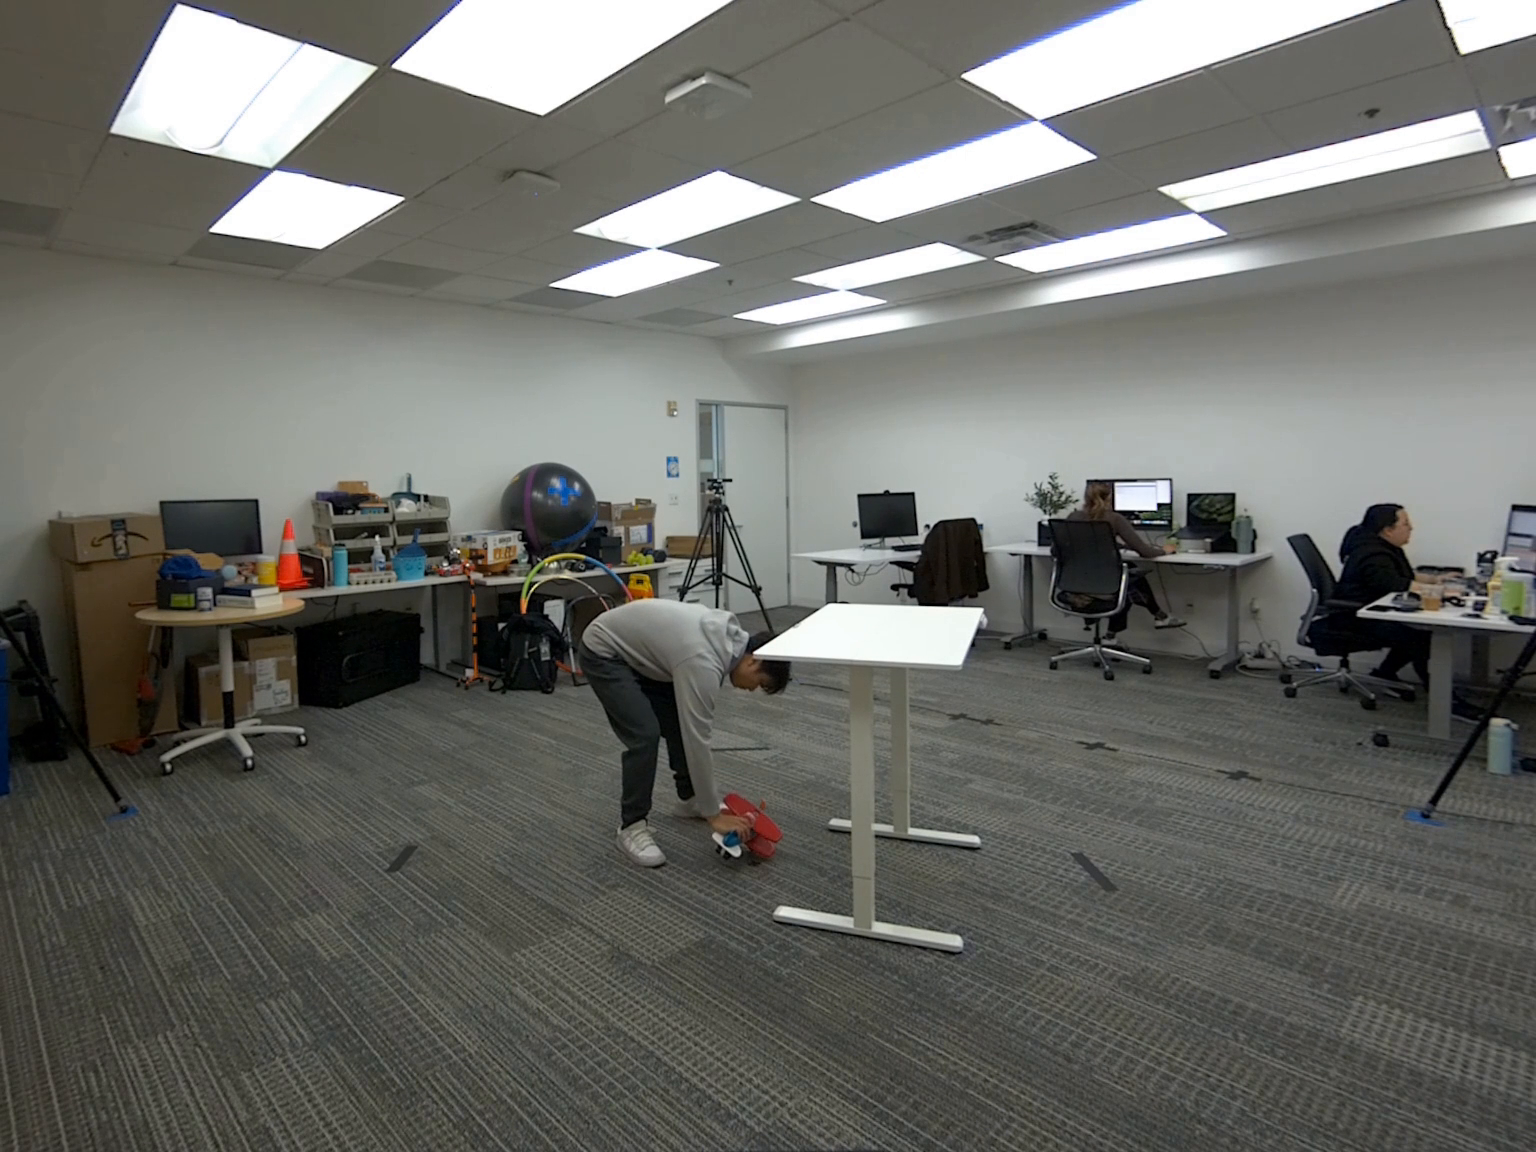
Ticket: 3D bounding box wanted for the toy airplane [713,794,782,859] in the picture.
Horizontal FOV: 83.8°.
[{"bbox_3d":[-0.082,0.946,3.128,0.250,0.156,0.262,27,11,-5],"label":"toy airplane"}]
